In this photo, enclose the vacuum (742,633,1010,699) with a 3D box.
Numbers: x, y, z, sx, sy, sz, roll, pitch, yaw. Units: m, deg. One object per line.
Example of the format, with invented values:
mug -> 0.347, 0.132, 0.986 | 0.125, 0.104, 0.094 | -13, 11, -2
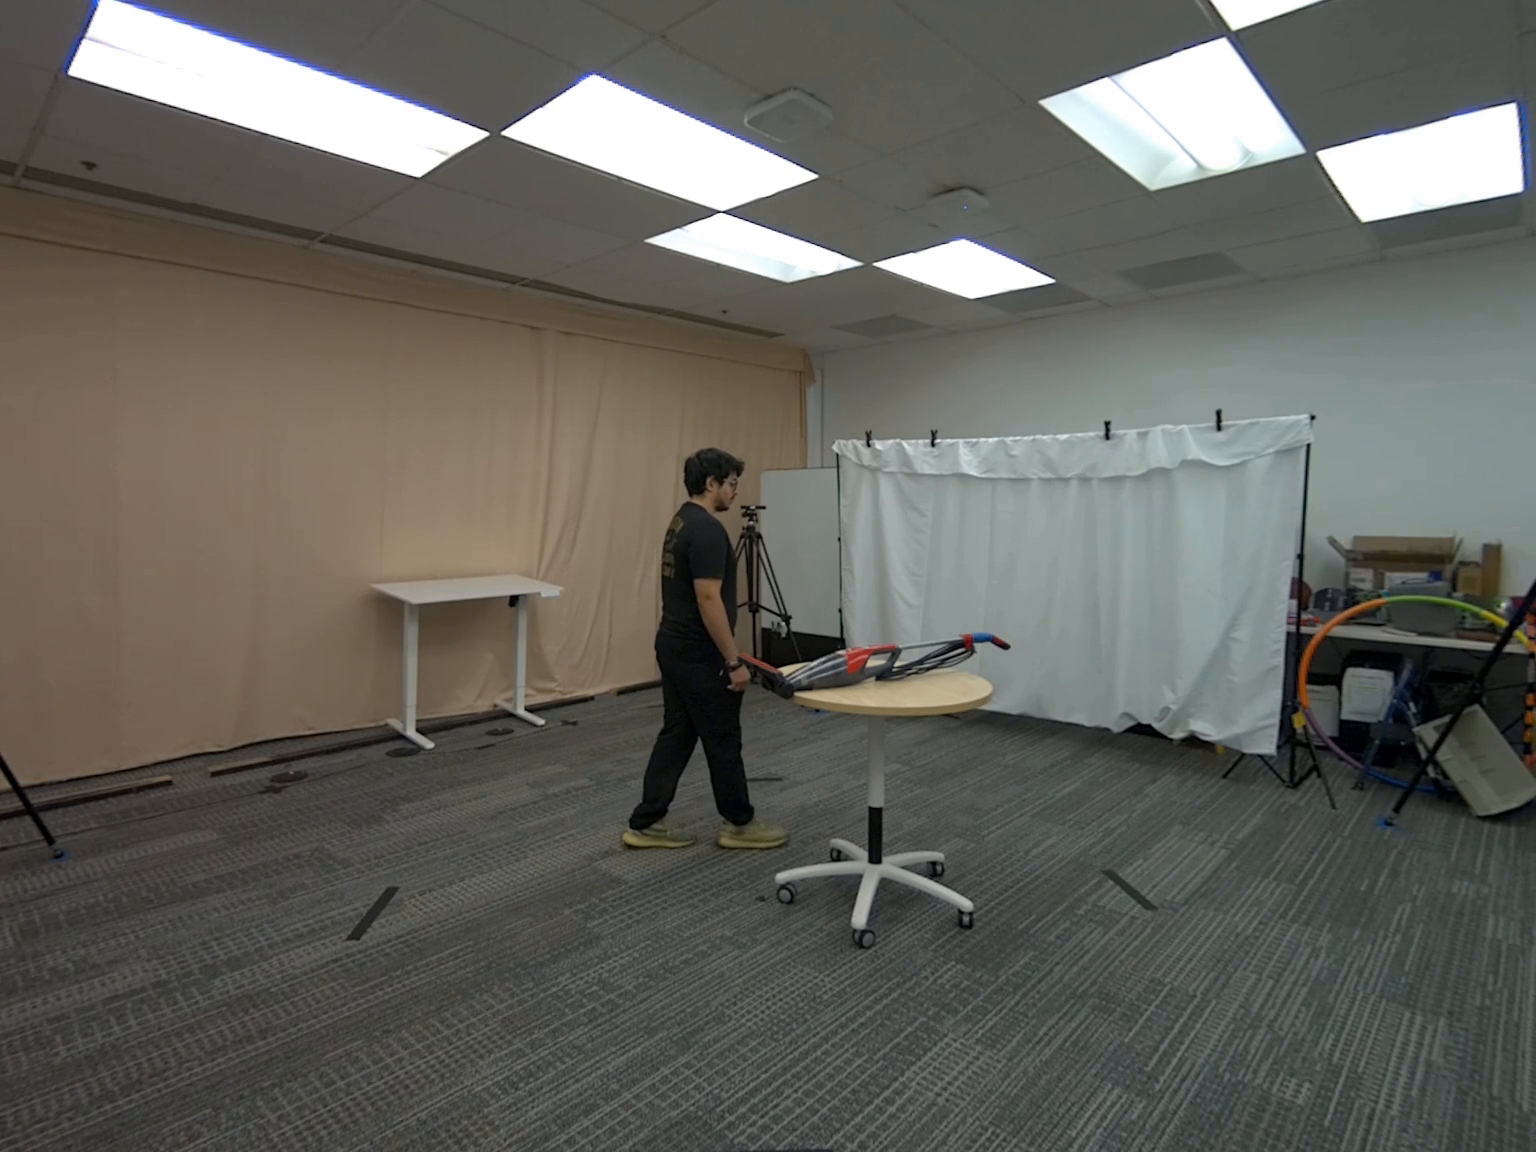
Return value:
vacuum -> 0.463, 0.309, 2.947 | 1.023, 0.143, 0.260 | -4, 12, -27
